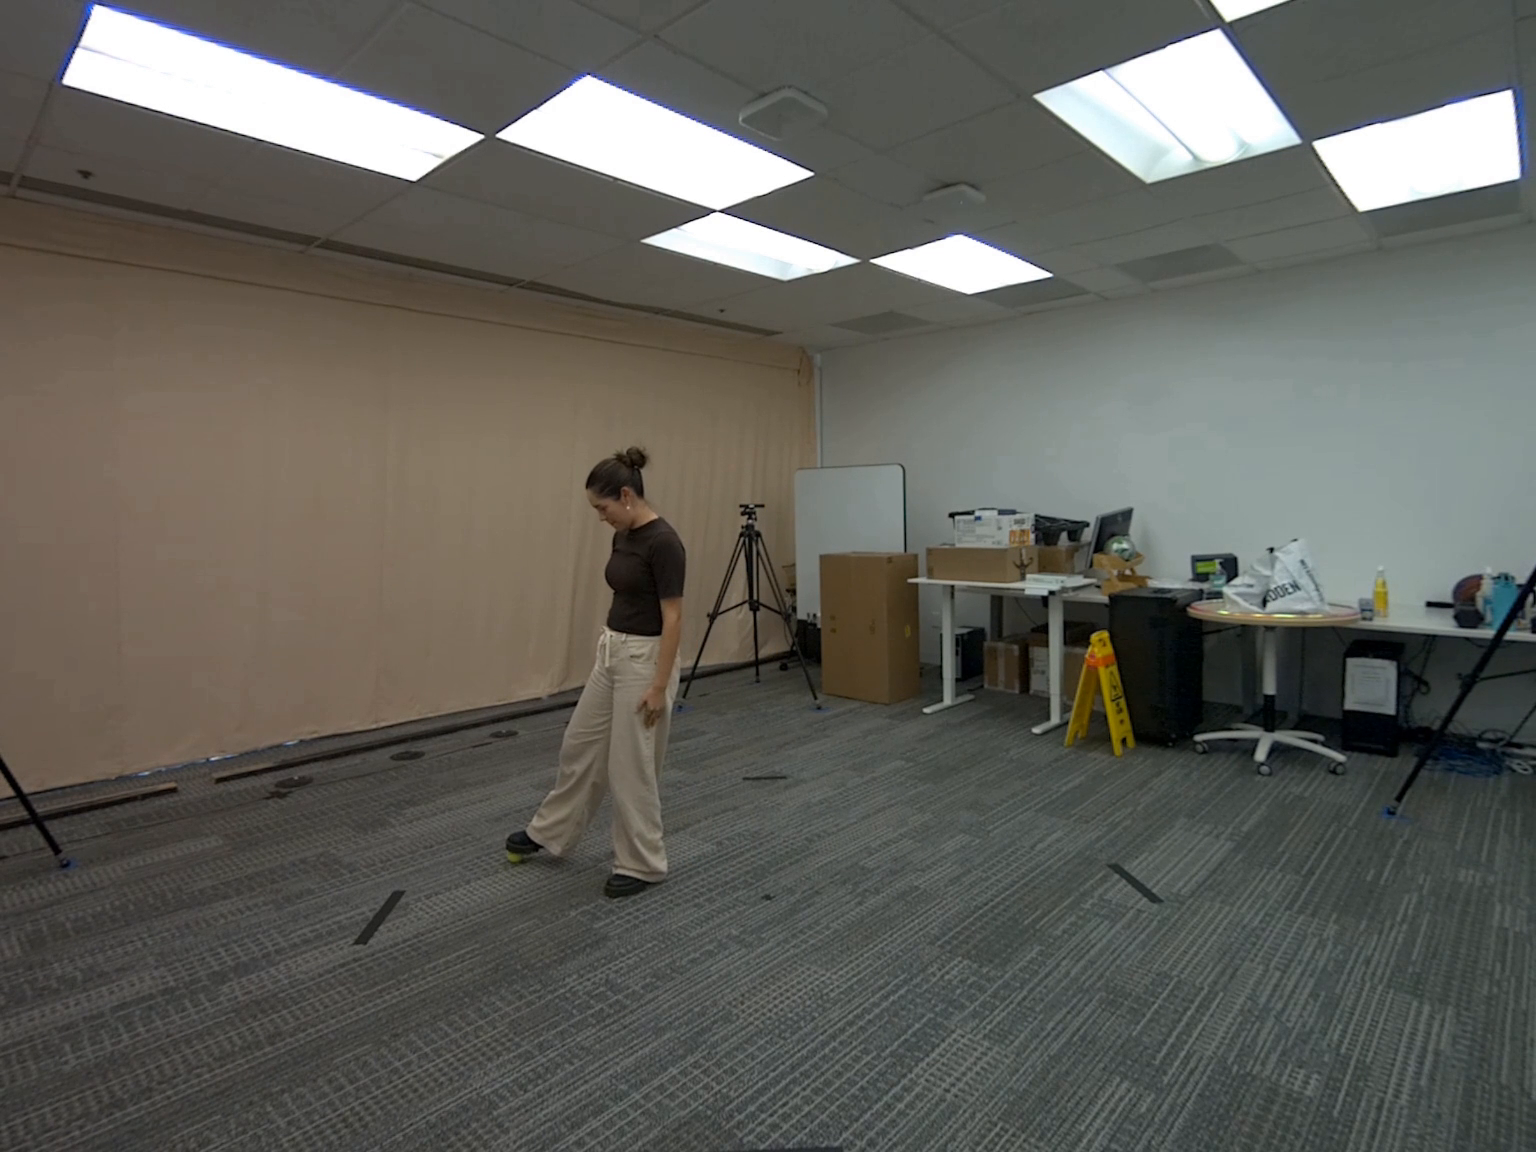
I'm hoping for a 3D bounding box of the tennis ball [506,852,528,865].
[{"bbox_3d":[-1.001,1.102,3.345,0.066,0.066,0.067,-1,4,-2],"label":"tennis ball"}]
